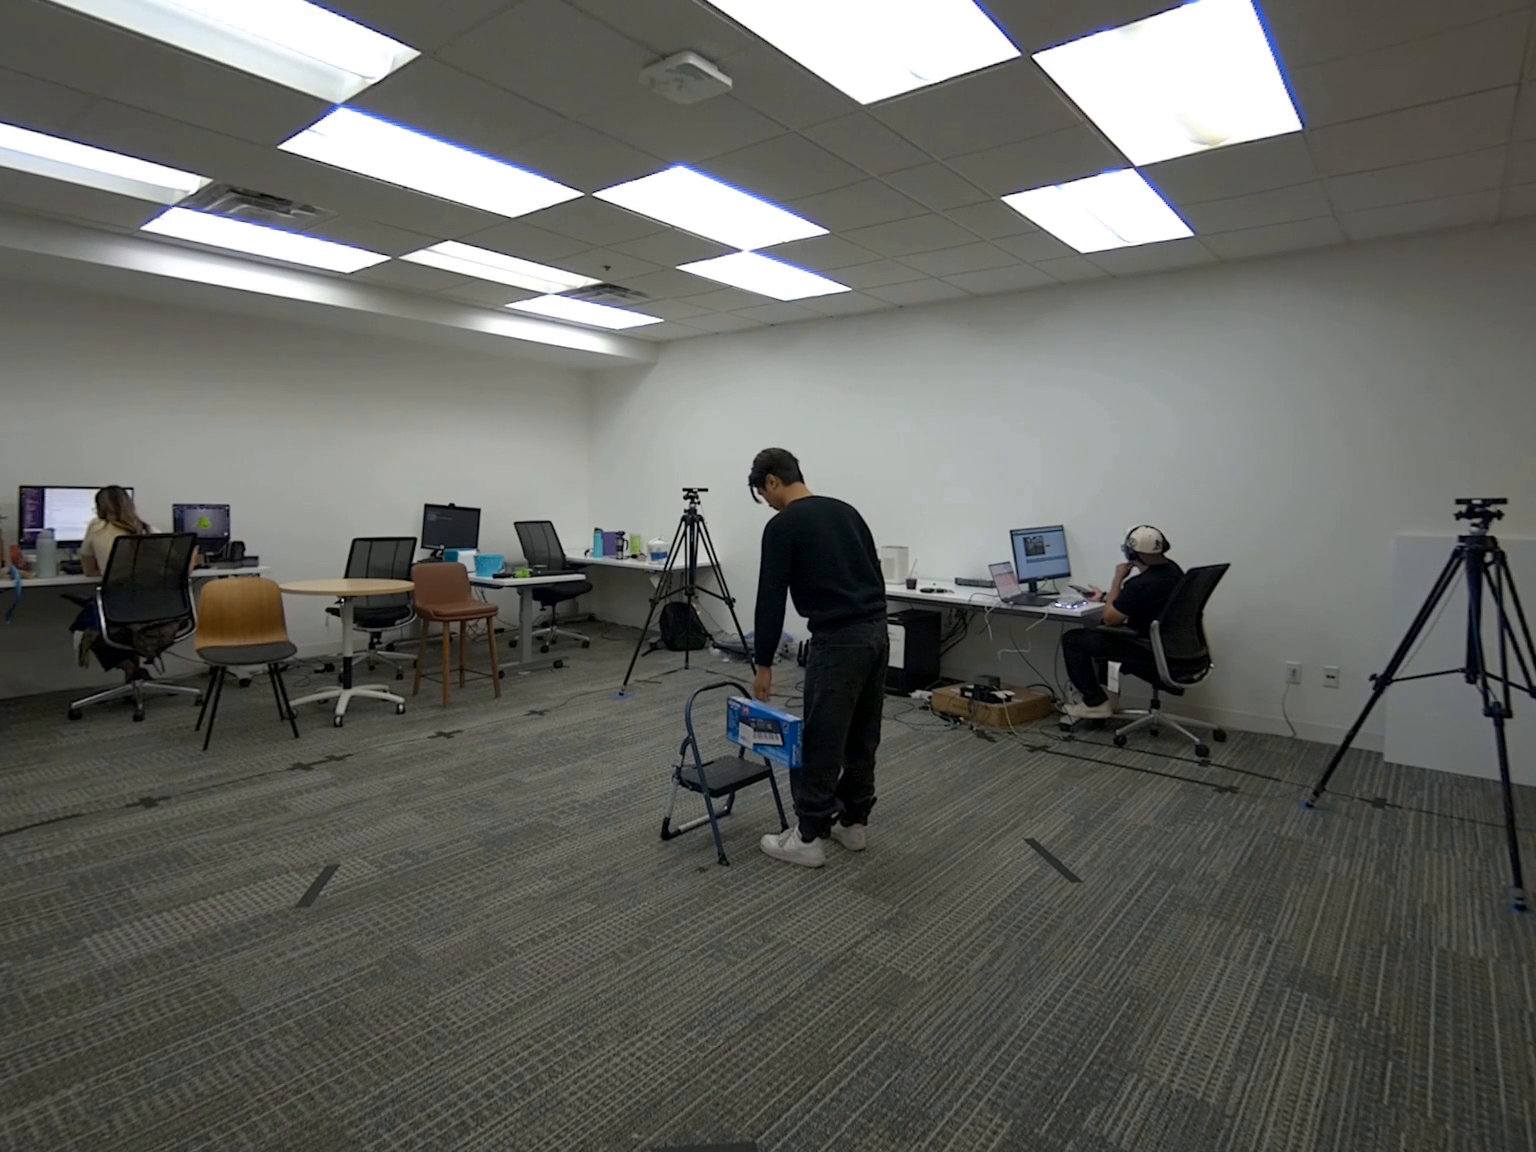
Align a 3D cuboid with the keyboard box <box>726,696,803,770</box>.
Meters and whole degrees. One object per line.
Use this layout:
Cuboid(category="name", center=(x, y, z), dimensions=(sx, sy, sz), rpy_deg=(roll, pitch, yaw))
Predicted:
Cuboid(category="keyboard box", center=(-0.033, 0.585, 3.253), dimensions=(0.057, 0.175, 0.450), rpy_deg=(0, 3, -34))
